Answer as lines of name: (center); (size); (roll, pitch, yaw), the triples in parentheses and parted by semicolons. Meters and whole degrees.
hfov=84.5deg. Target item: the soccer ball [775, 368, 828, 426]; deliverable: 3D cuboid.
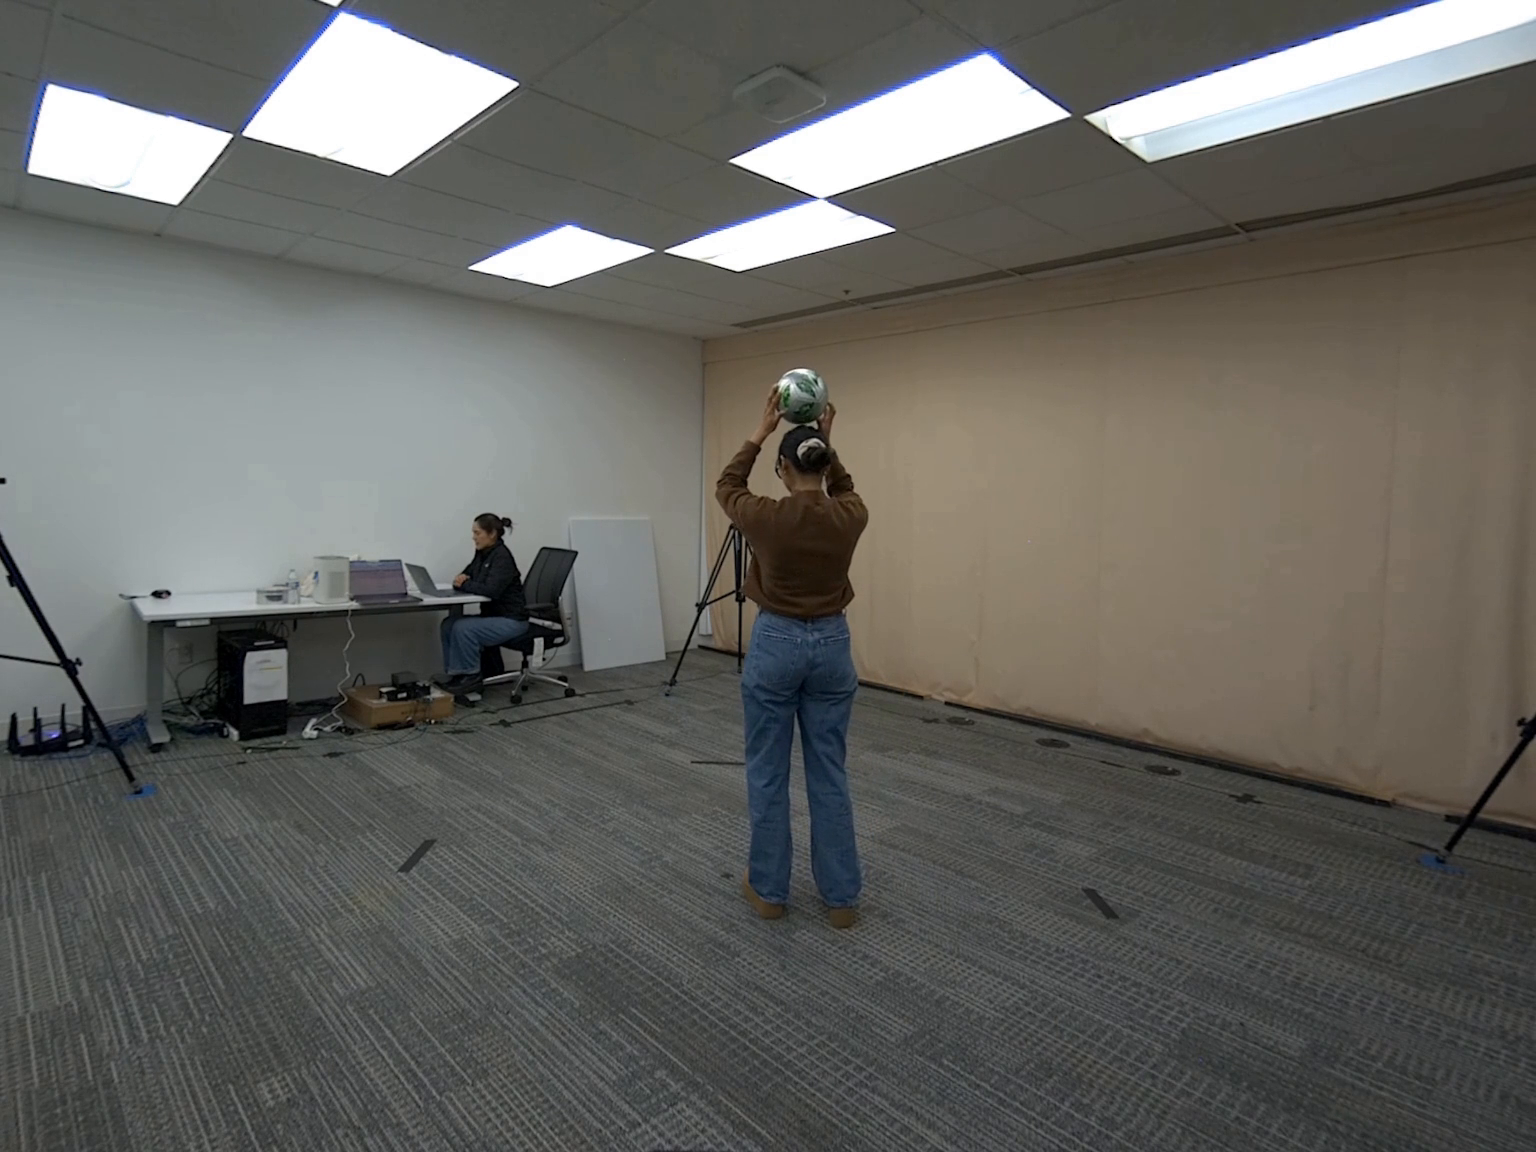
soccer ball: (0.109, -0.599, 2.849); (0.187, 0.187, 0.188); (1, 4, -1)
